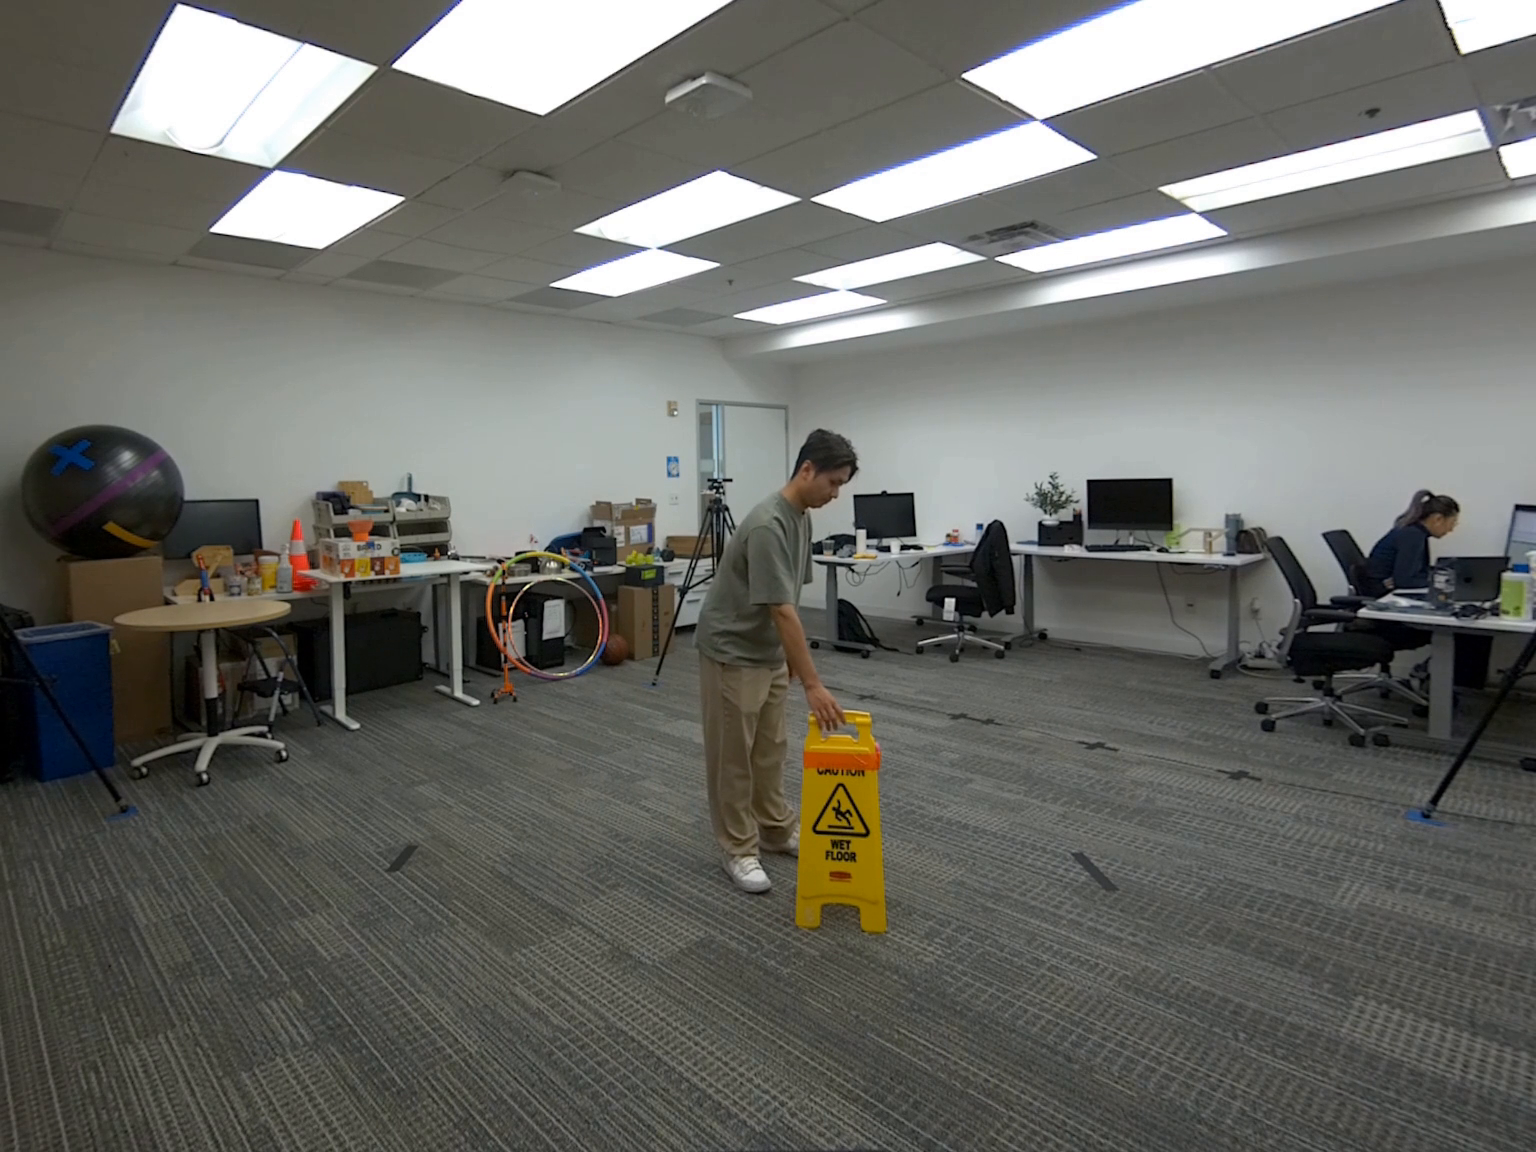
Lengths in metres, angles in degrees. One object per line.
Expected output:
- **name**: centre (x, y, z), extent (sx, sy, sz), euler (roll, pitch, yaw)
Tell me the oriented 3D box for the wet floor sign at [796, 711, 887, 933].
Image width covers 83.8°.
- **wet floor sign**: centre (0.253, 0.768, 2.745), extent (0.285, 0.644, 0.288), euler (2, 4, 7)
